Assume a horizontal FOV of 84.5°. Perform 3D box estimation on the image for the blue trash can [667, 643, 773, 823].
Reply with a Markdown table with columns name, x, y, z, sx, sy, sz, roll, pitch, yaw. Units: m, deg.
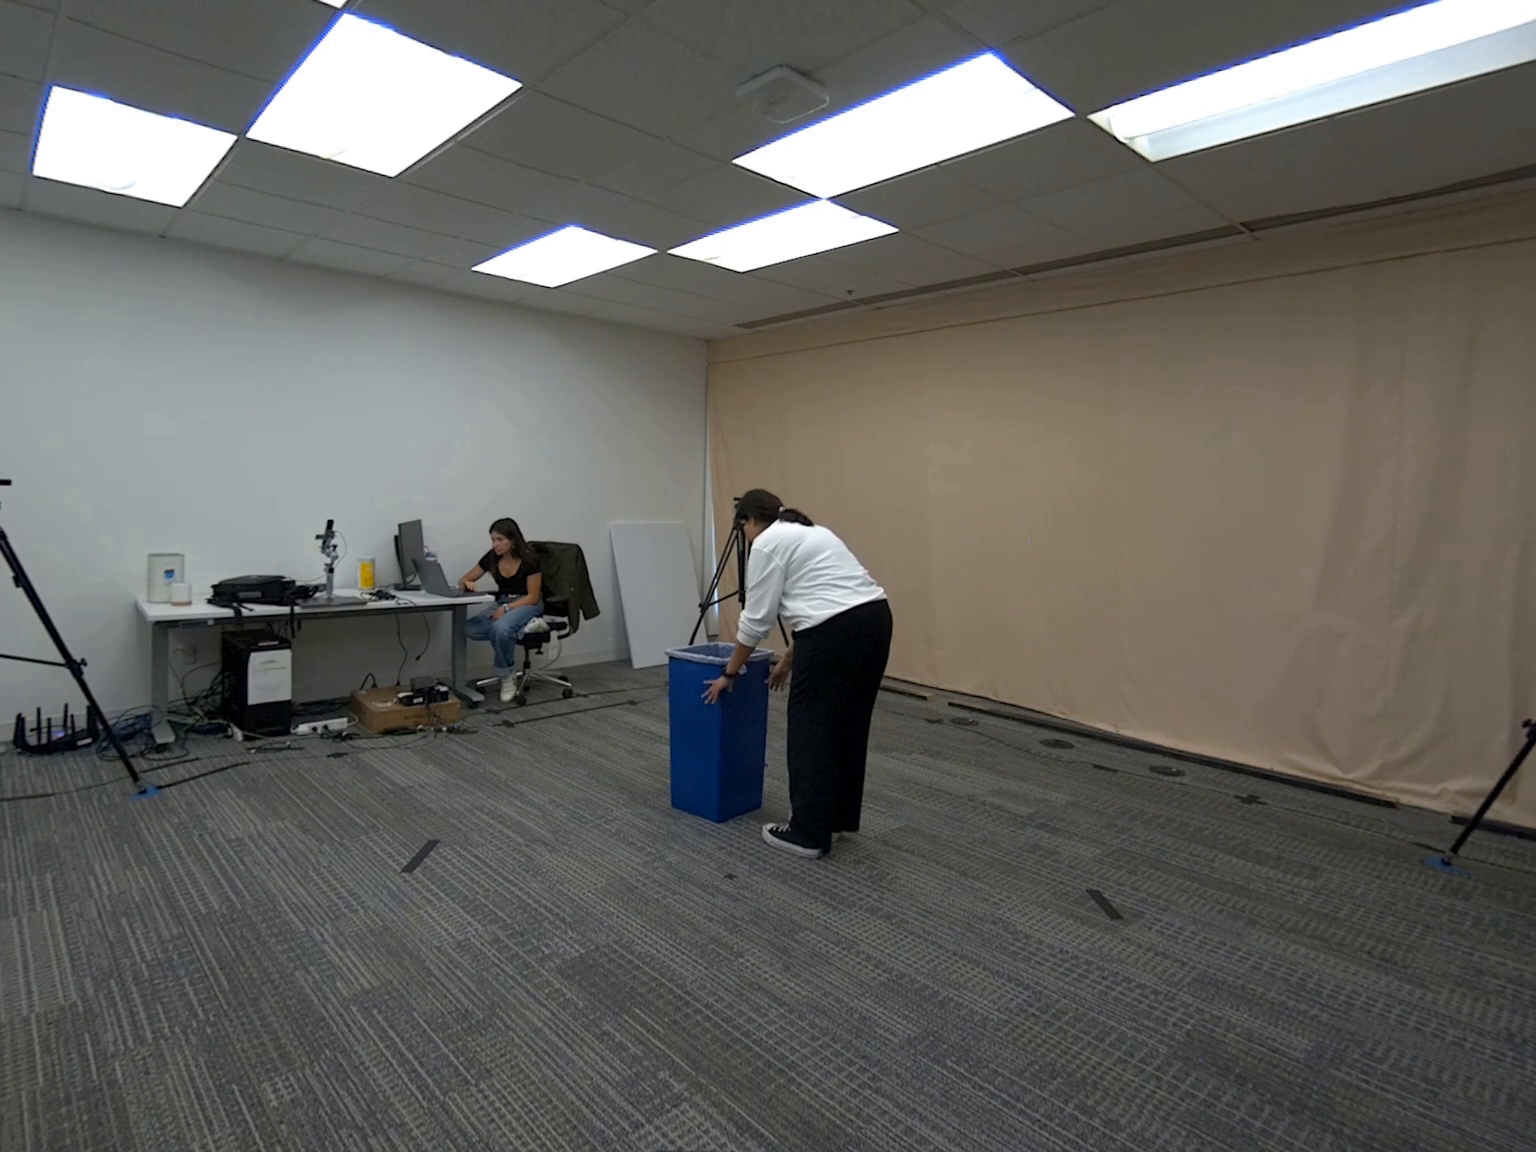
| name | x | y | z | sx | sy | sz | roll | pitch | yaw |
| --- | --- | --- | --- | --- | --- | --- | --- | --- | --- |
| blue trash can | -0.241 | 0.688 | 3.808 | 0.383 | 0.712 | 0.369 | 4 | 4 | 40 |
